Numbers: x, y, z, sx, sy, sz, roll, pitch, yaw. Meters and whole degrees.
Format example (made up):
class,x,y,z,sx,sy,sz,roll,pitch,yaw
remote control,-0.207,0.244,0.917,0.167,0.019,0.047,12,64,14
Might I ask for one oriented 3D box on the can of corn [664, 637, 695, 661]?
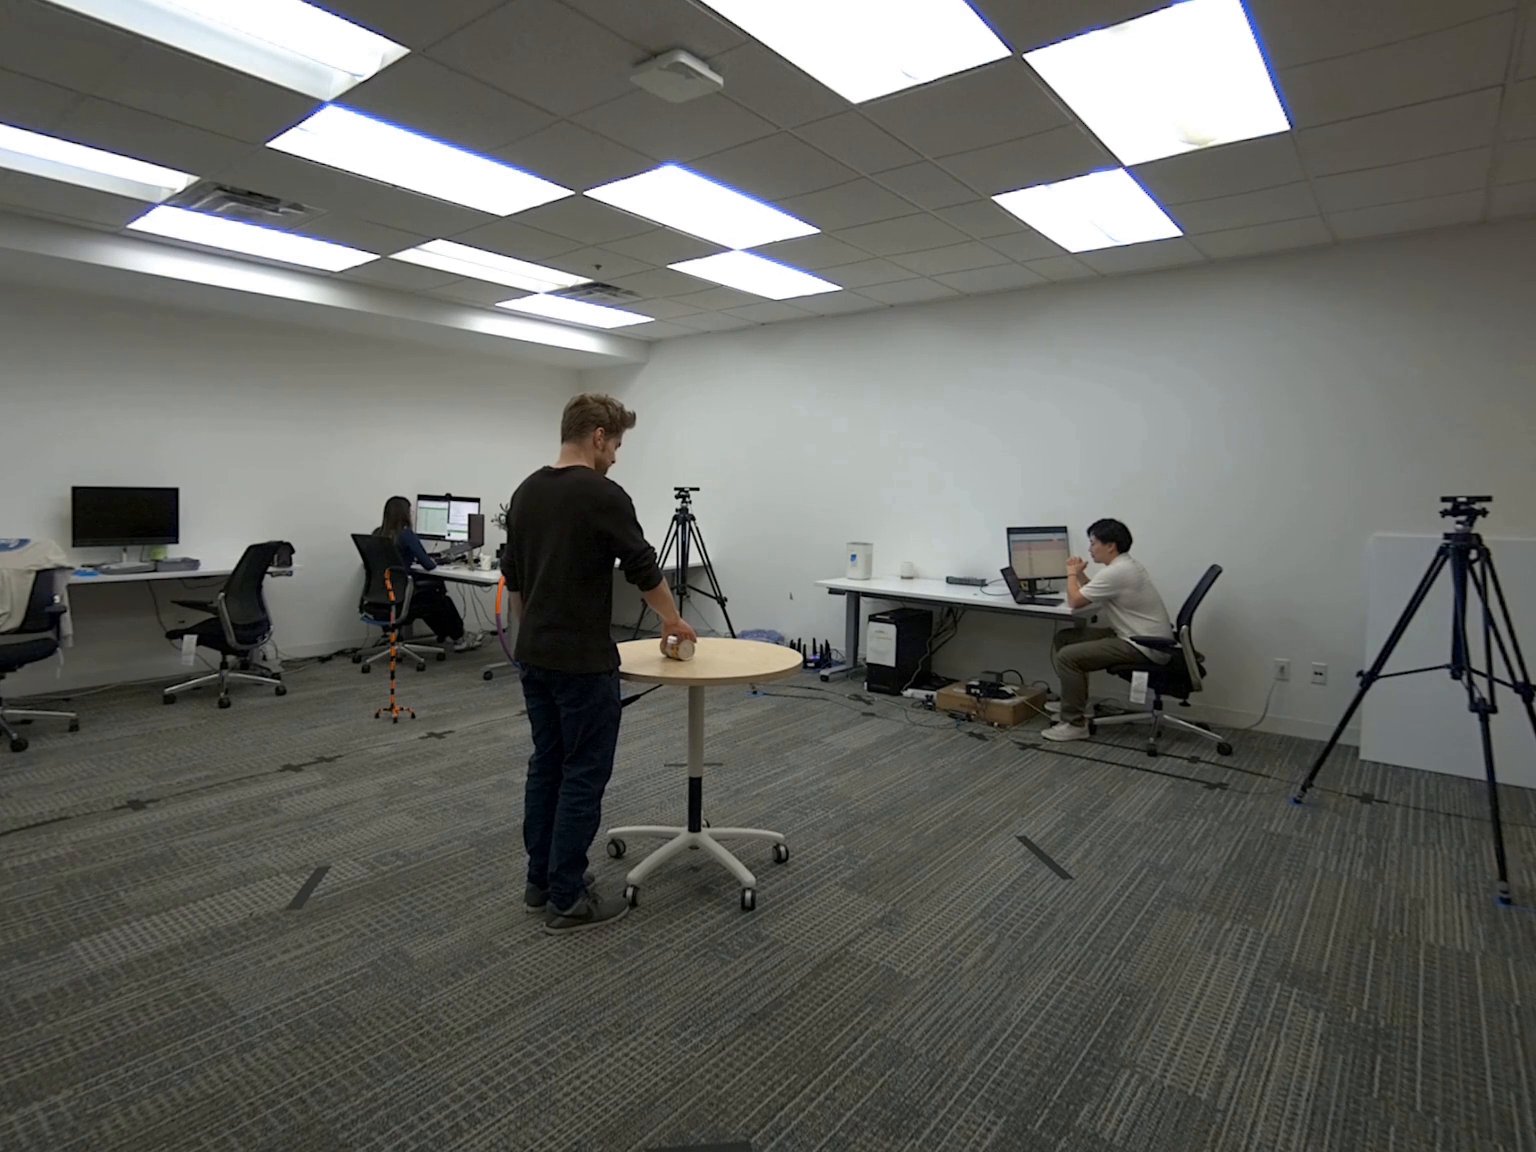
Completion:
class,x,y,z,sx,sy,sz,roll,pitch,yaw
can of corn,-0.332,0.255,3.008,0.072,0.074,0.115,-2,7,-34
